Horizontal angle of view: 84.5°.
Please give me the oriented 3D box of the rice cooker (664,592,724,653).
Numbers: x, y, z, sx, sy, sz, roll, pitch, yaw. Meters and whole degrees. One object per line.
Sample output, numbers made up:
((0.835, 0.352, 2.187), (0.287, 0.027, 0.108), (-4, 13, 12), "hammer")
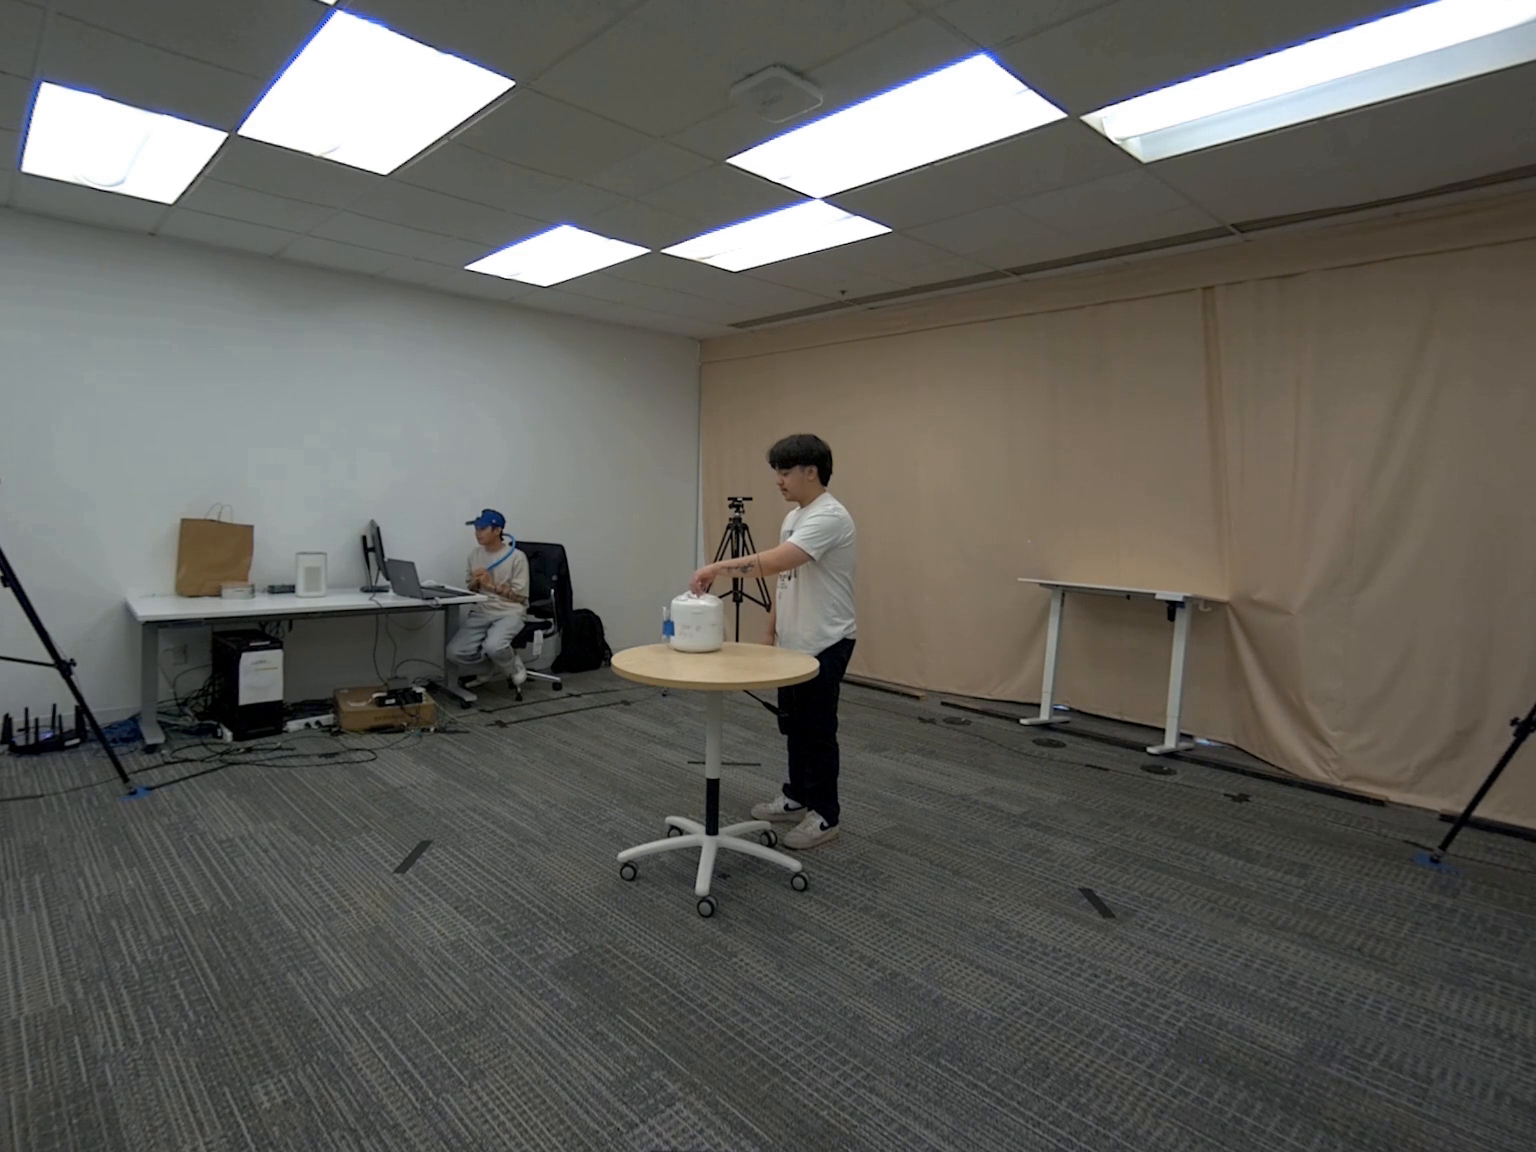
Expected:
((-0.286, 0.172, 3.304), (0.213, 0.232, 0.226), (-5, 7, -41), "rice cooker")
